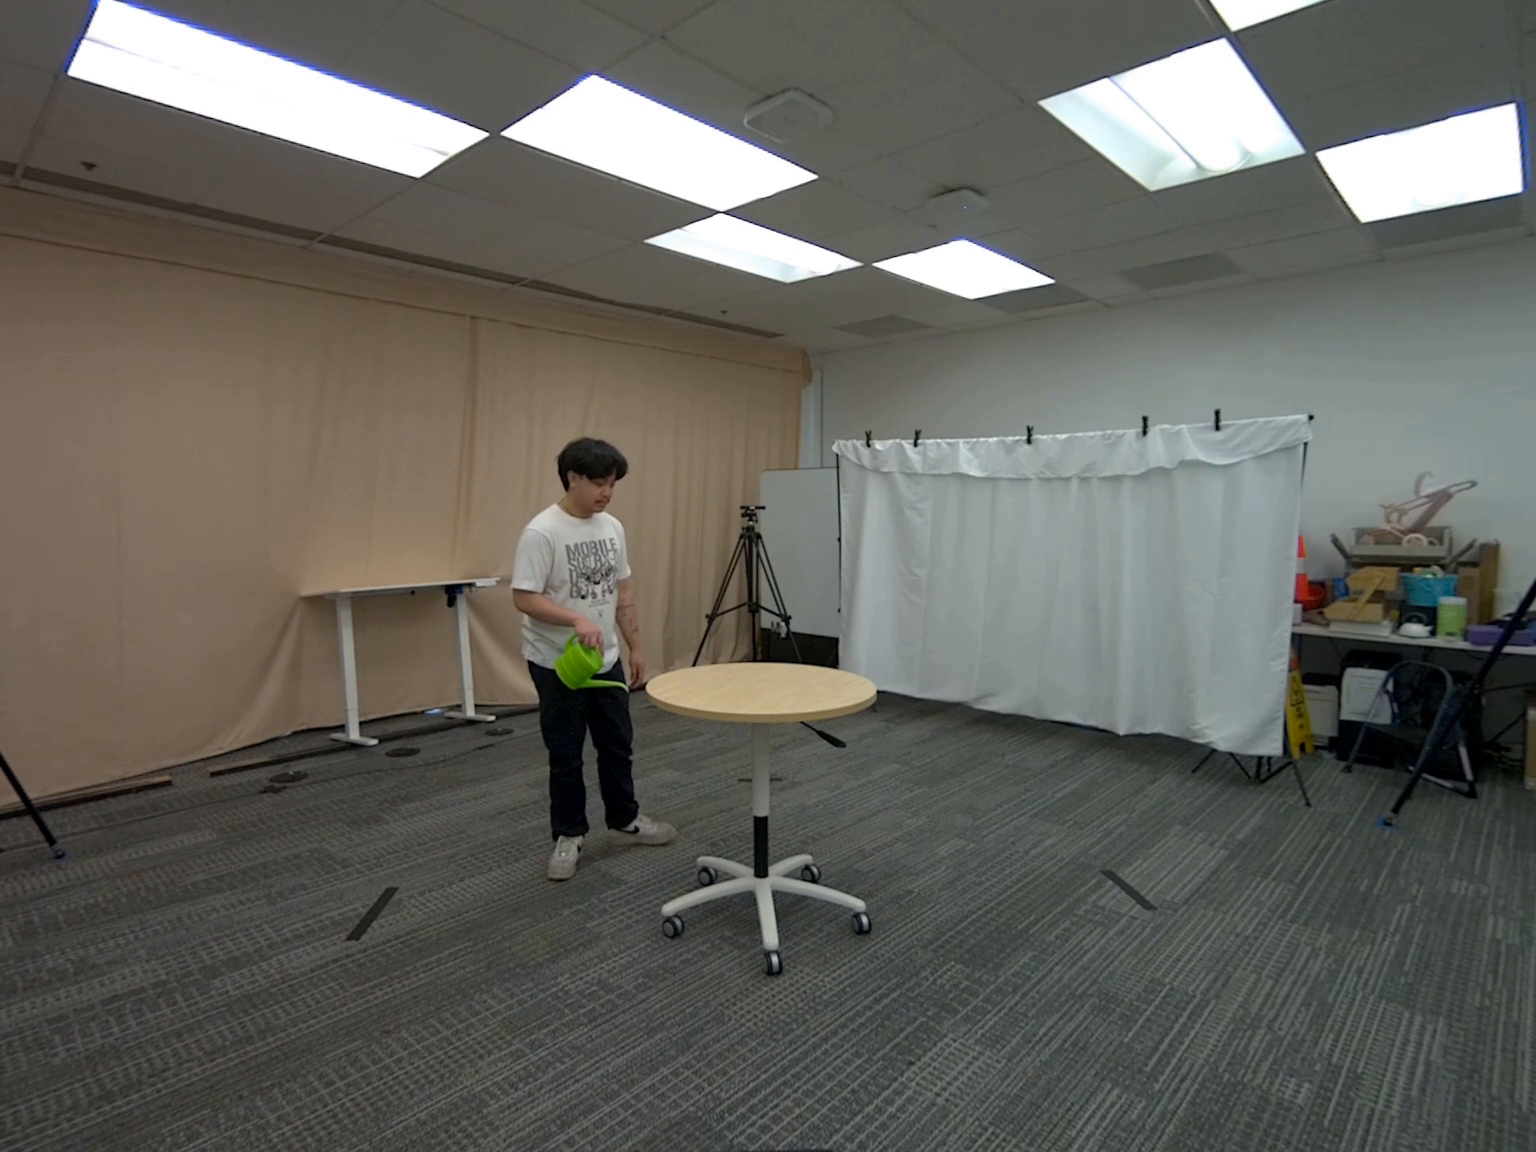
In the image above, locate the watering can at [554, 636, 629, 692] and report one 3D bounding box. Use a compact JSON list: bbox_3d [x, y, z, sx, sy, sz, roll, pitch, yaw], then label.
[{"bbox_3d":[-0.643,0.342,3.003,0.178,0.284,0.095,-41,-22,19],"label":"watering can"}]
